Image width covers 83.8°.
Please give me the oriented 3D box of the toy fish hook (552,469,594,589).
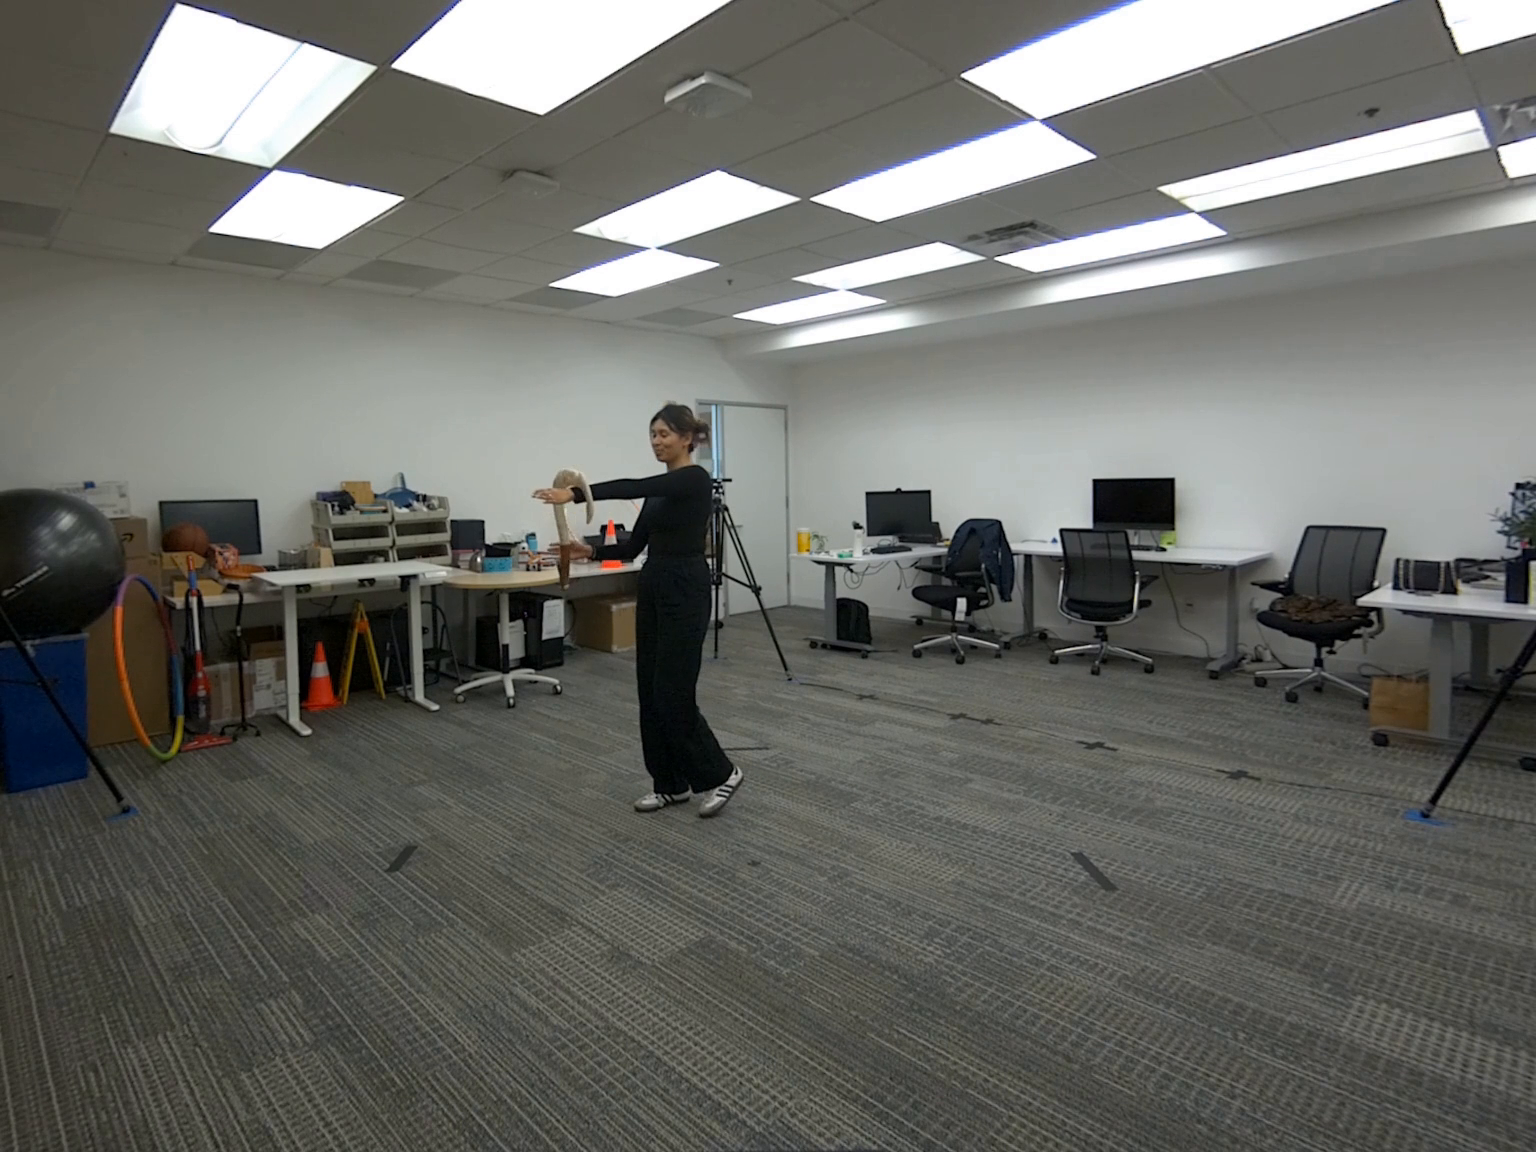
[{"bbox_3d":[-0.755,-0.159,3.324,0.233,0.499,0.047,20,24,37],"label":"toy fish hook"}]
